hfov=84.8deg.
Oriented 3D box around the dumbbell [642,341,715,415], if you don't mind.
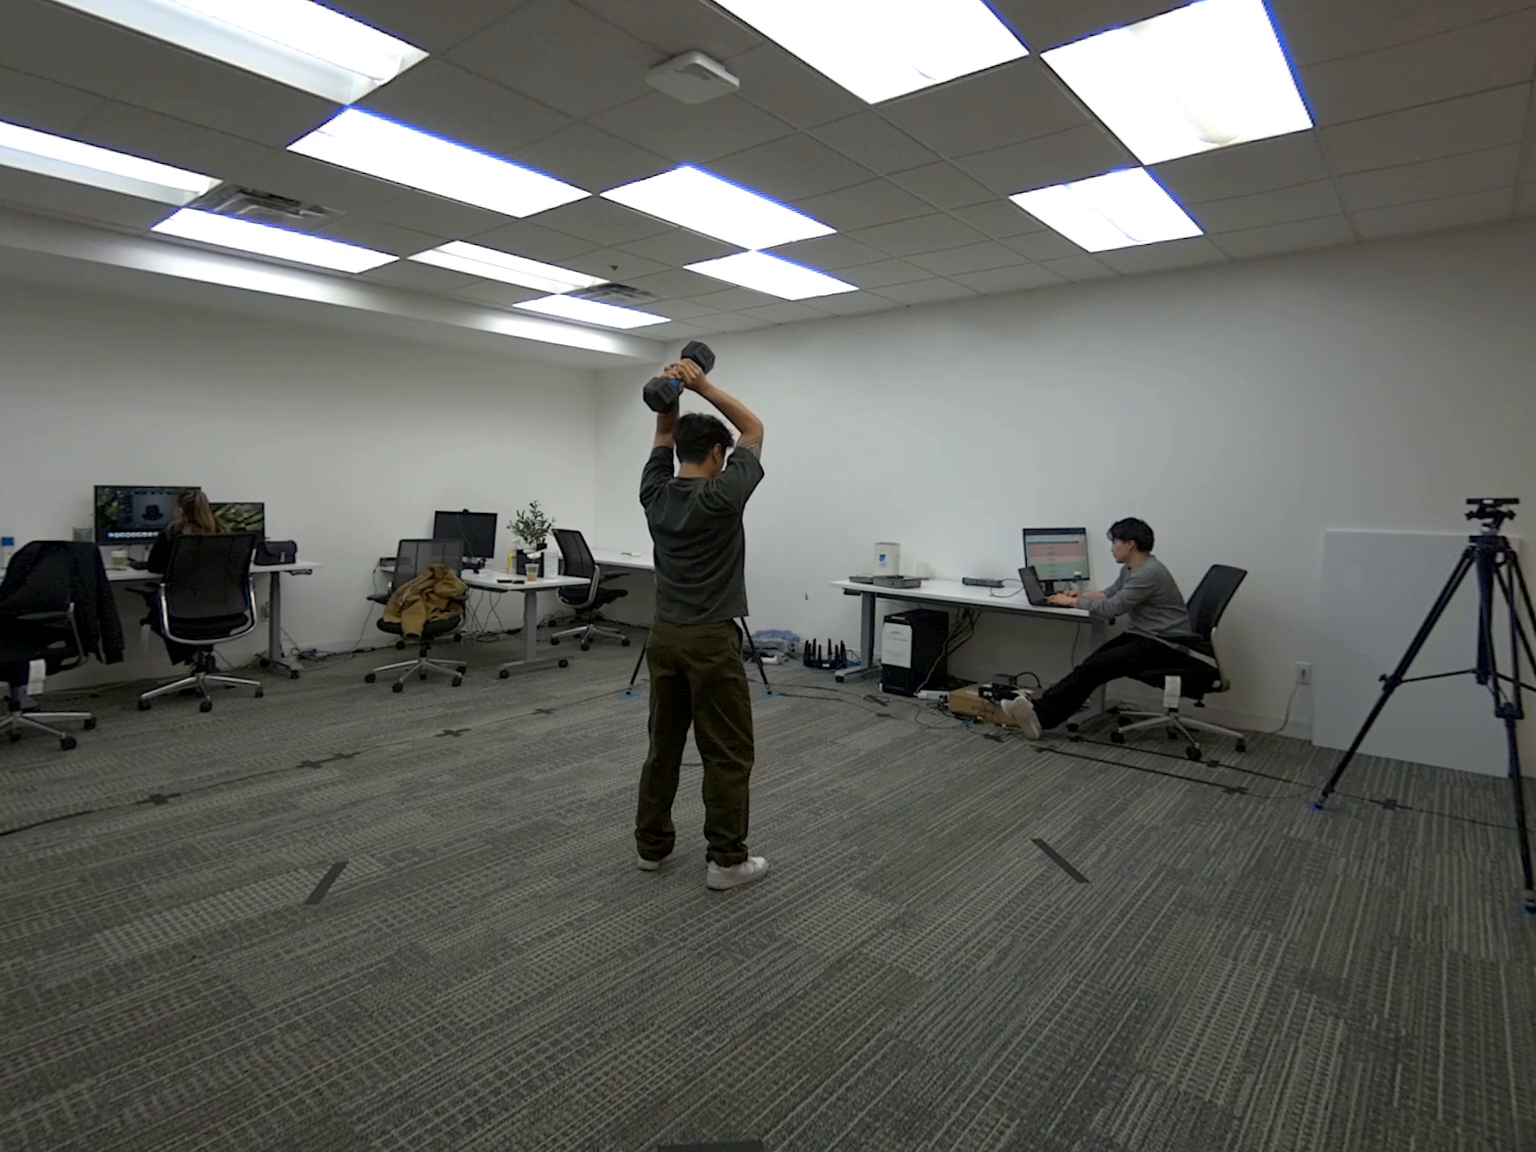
[{"bbox_3d":[-0.316,-0.697,2.970,0.294,0.120,0.111,-51,17,-26],"label":"dumbbell"}]
